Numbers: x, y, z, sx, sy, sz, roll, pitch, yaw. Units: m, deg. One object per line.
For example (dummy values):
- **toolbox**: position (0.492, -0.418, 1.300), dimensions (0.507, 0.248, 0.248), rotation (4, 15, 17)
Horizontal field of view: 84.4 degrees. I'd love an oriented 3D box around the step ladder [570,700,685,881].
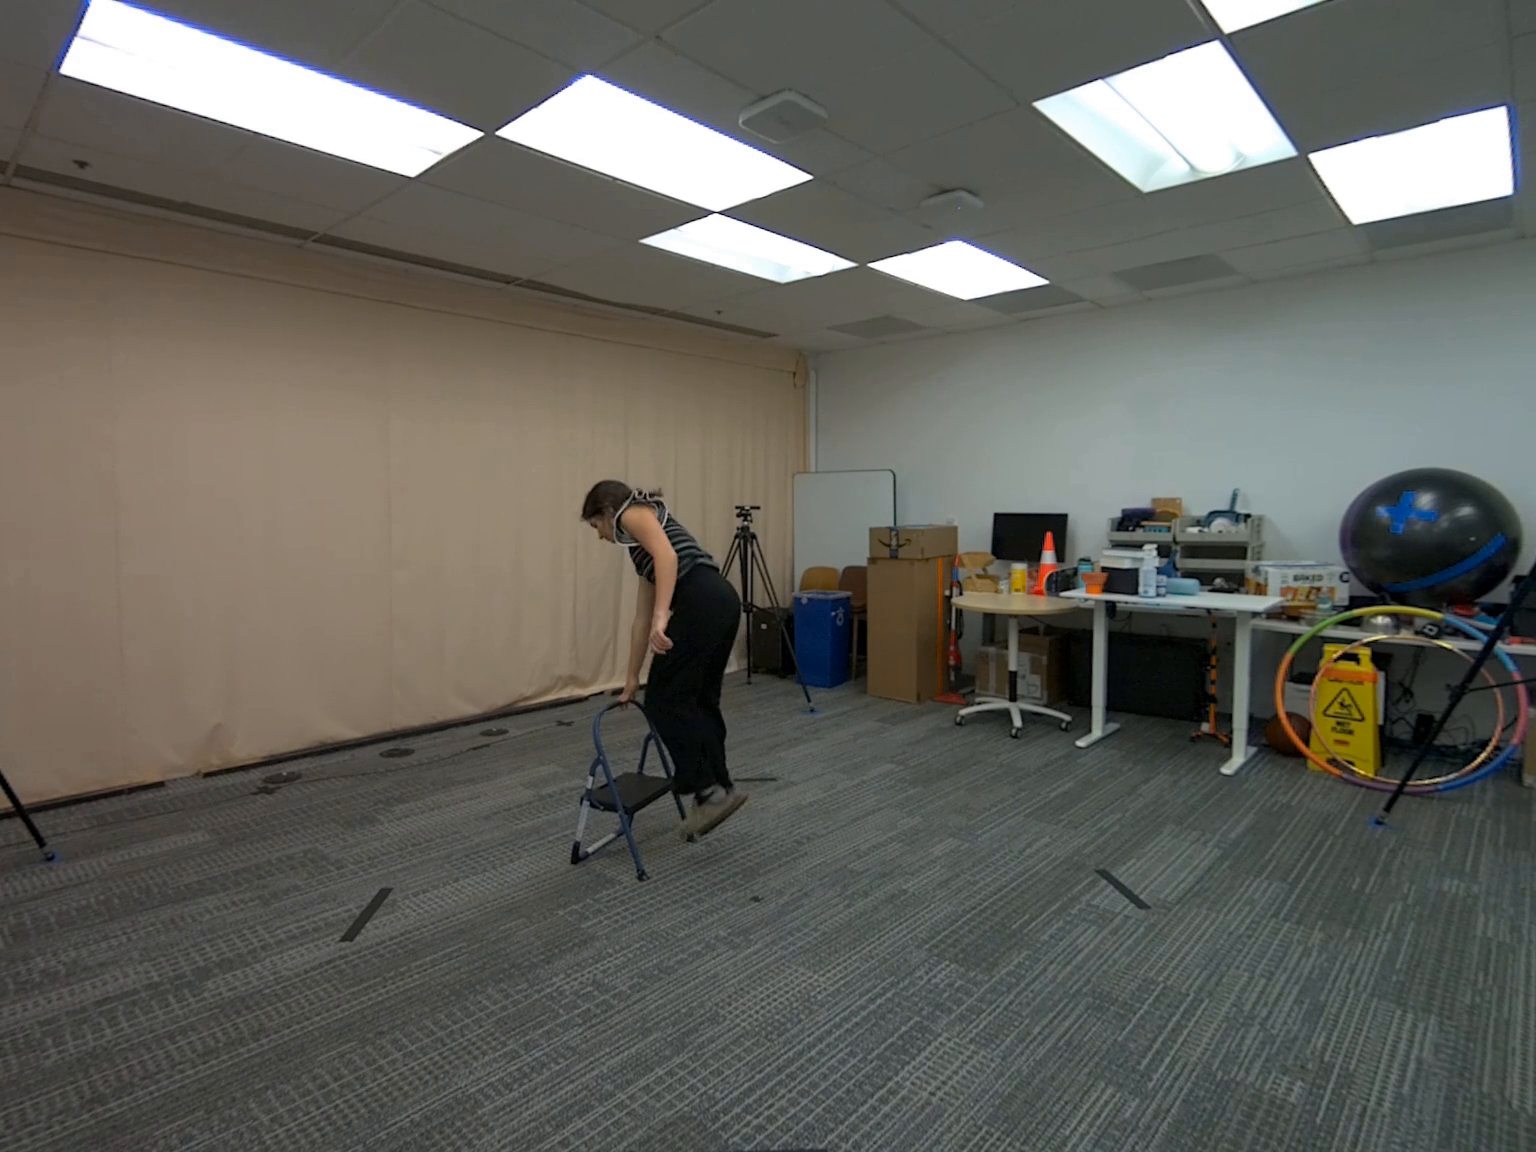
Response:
- **step ladder**: position (-0.538, 0.813, 3.385), dimensions (0.358, 0.605, 0.421), rotation (1, 3, 24)
